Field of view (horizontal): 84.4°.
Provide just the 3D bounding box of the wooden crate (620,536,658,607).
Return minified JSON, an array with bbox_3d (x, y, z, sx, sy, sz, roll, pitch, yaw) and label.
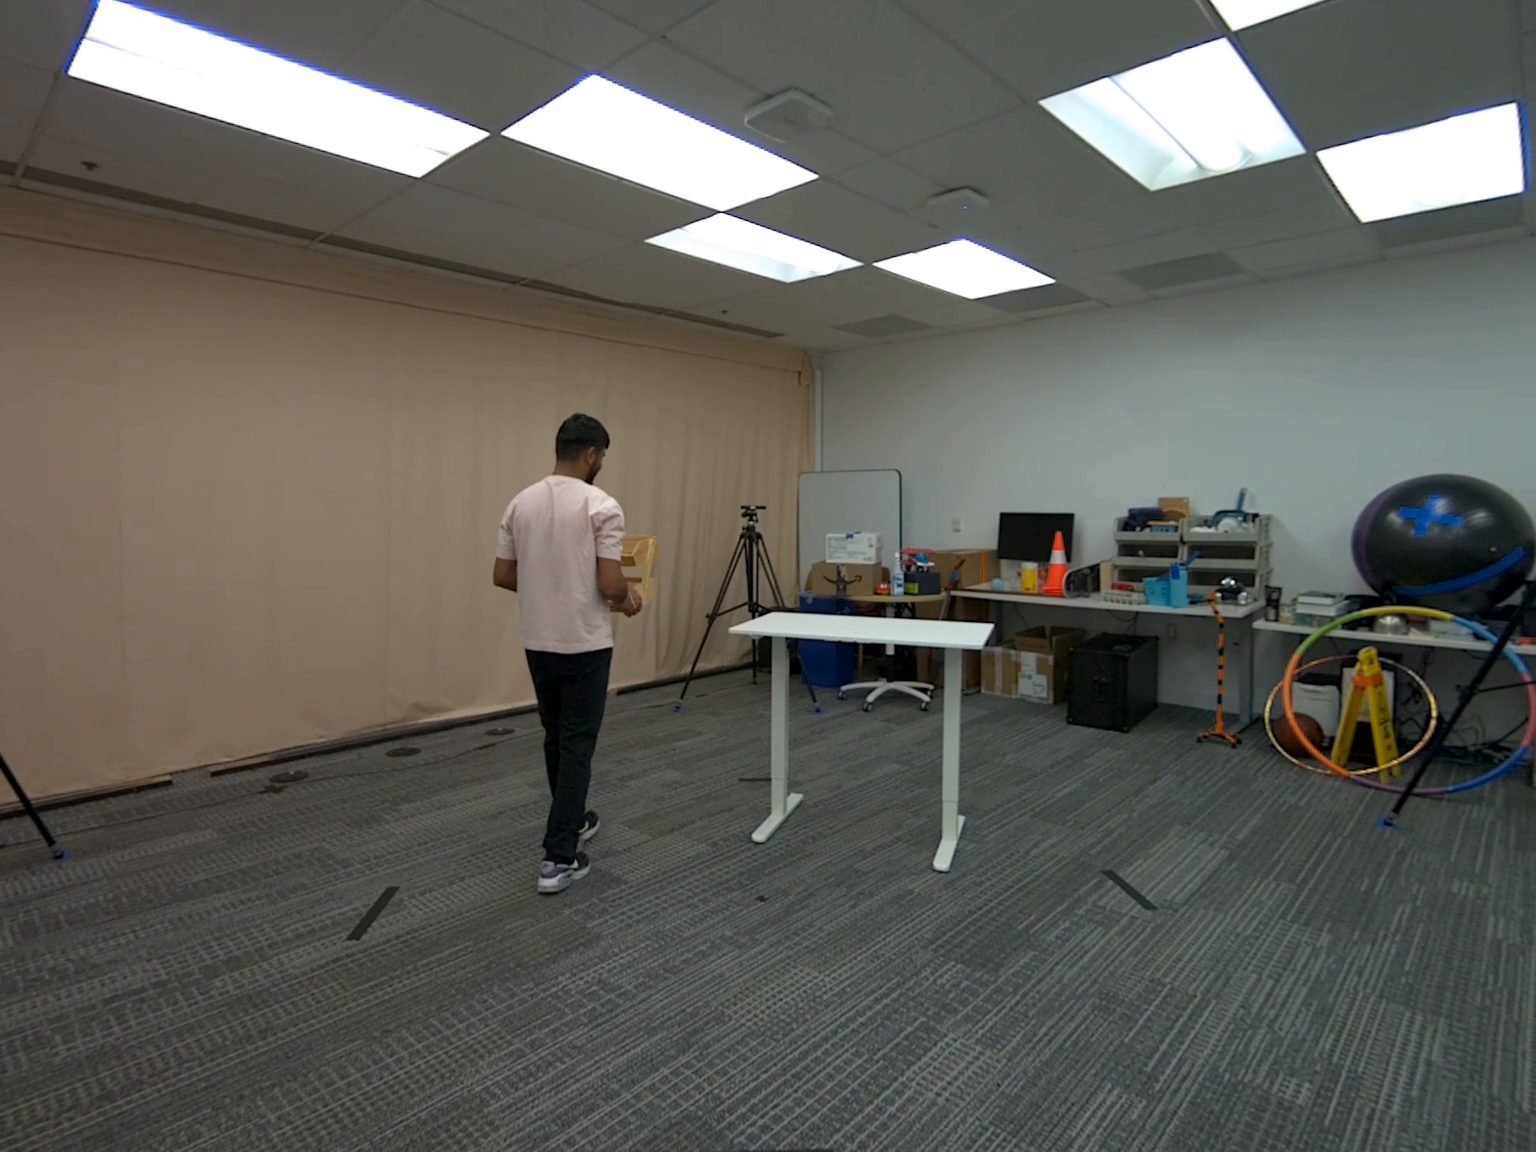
[{"bbox_3d":[-0.656,-0.018,3.467,0.332,0.271,0.297,2,12,24],"label":"wooden crate"}]
